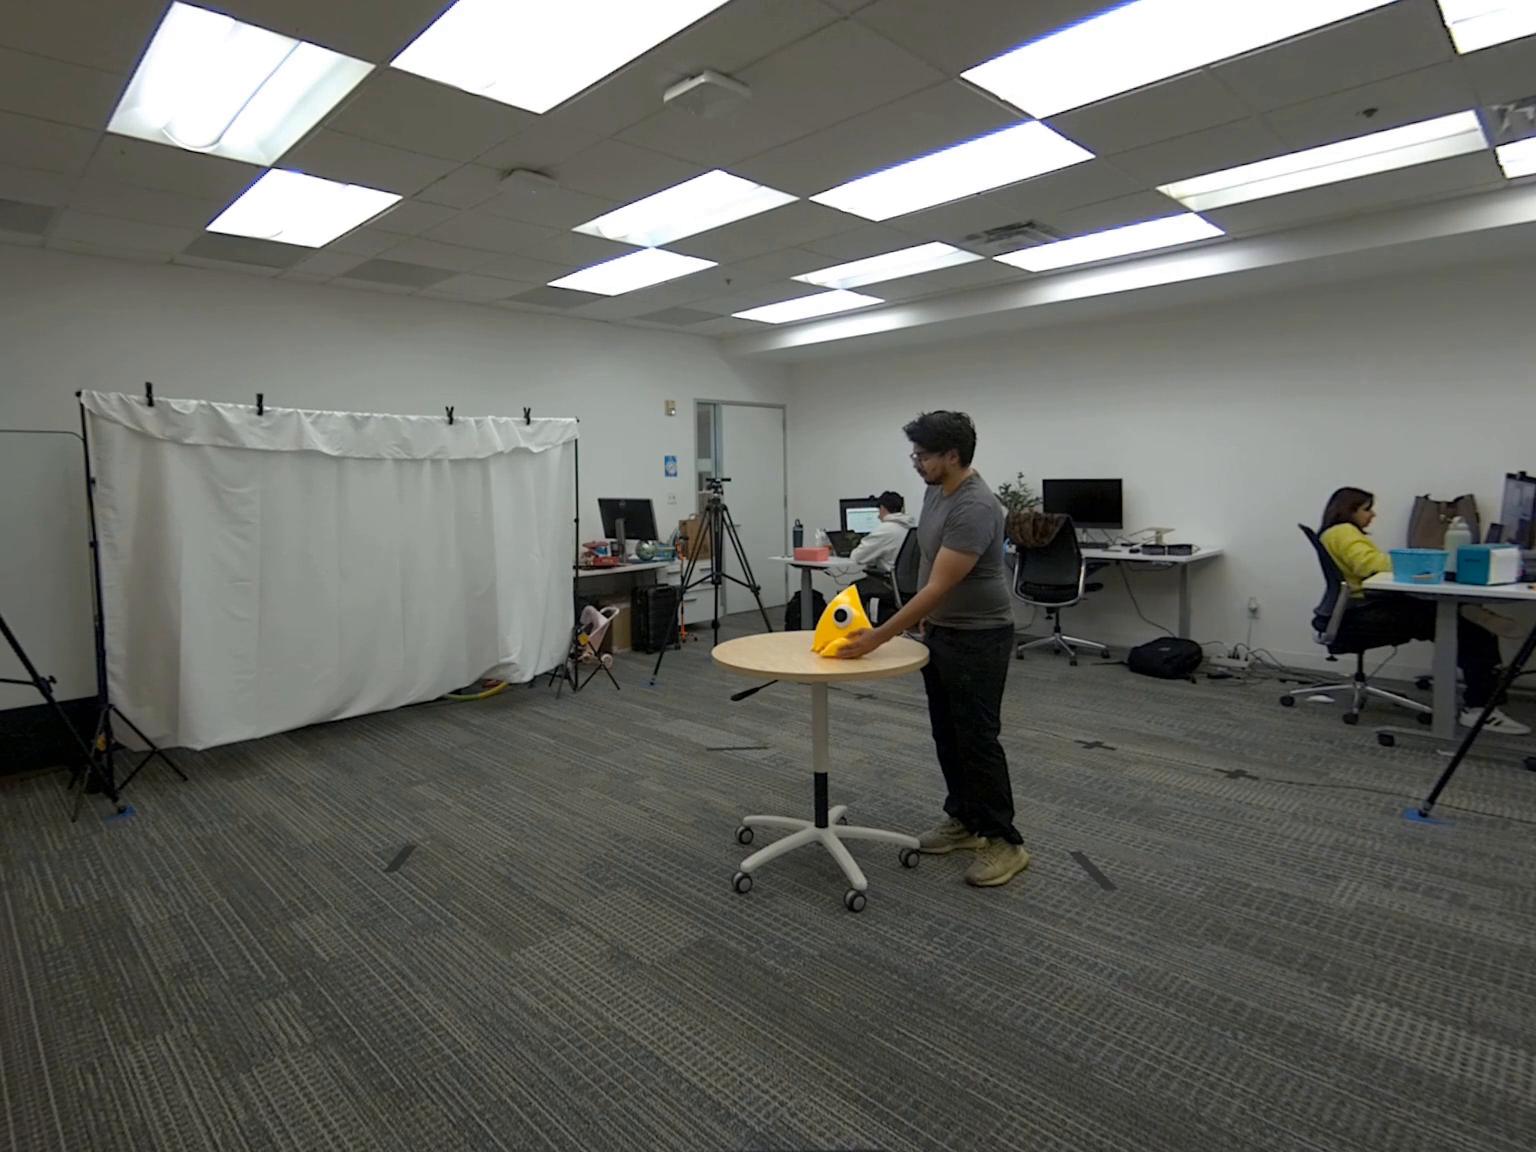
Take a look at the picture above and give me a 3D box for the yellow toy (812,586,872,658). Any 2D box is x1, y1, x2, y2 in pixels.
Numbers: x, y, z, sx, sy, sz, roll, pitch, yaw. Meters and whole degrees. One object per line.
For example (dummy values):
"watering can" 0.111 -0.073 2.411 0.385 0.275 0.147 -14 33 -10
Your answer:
"yellow toy" 0.248 0.153 2.978 0.191 0.230 0.207 -4 2 -13
